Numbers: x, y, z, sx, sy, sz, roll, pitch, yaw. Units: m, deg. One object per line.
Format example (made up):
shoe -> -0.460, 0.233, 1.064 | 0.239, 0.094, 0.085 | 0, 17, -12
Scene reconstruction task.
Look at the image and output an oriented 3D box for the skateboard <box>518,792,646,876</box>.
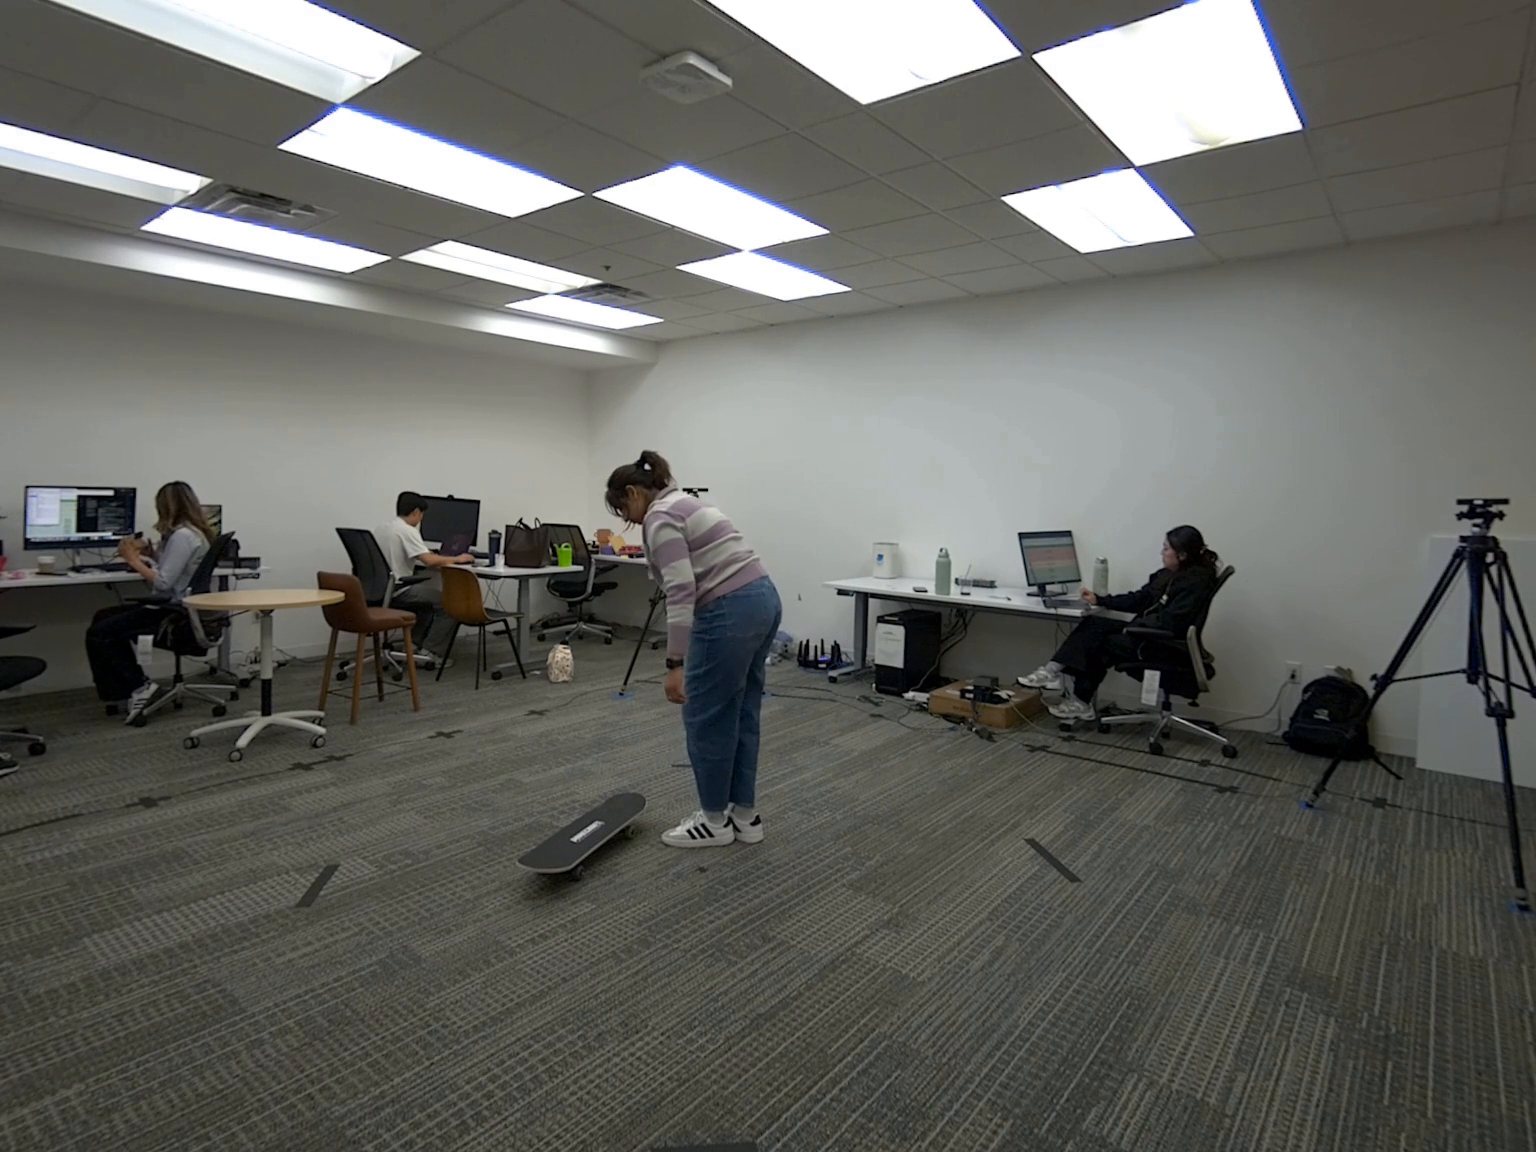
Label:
skateboard -> -0.695, 0.993, 3.214 | 0.197, 0.110, 0.772 | 3, 6, 18
